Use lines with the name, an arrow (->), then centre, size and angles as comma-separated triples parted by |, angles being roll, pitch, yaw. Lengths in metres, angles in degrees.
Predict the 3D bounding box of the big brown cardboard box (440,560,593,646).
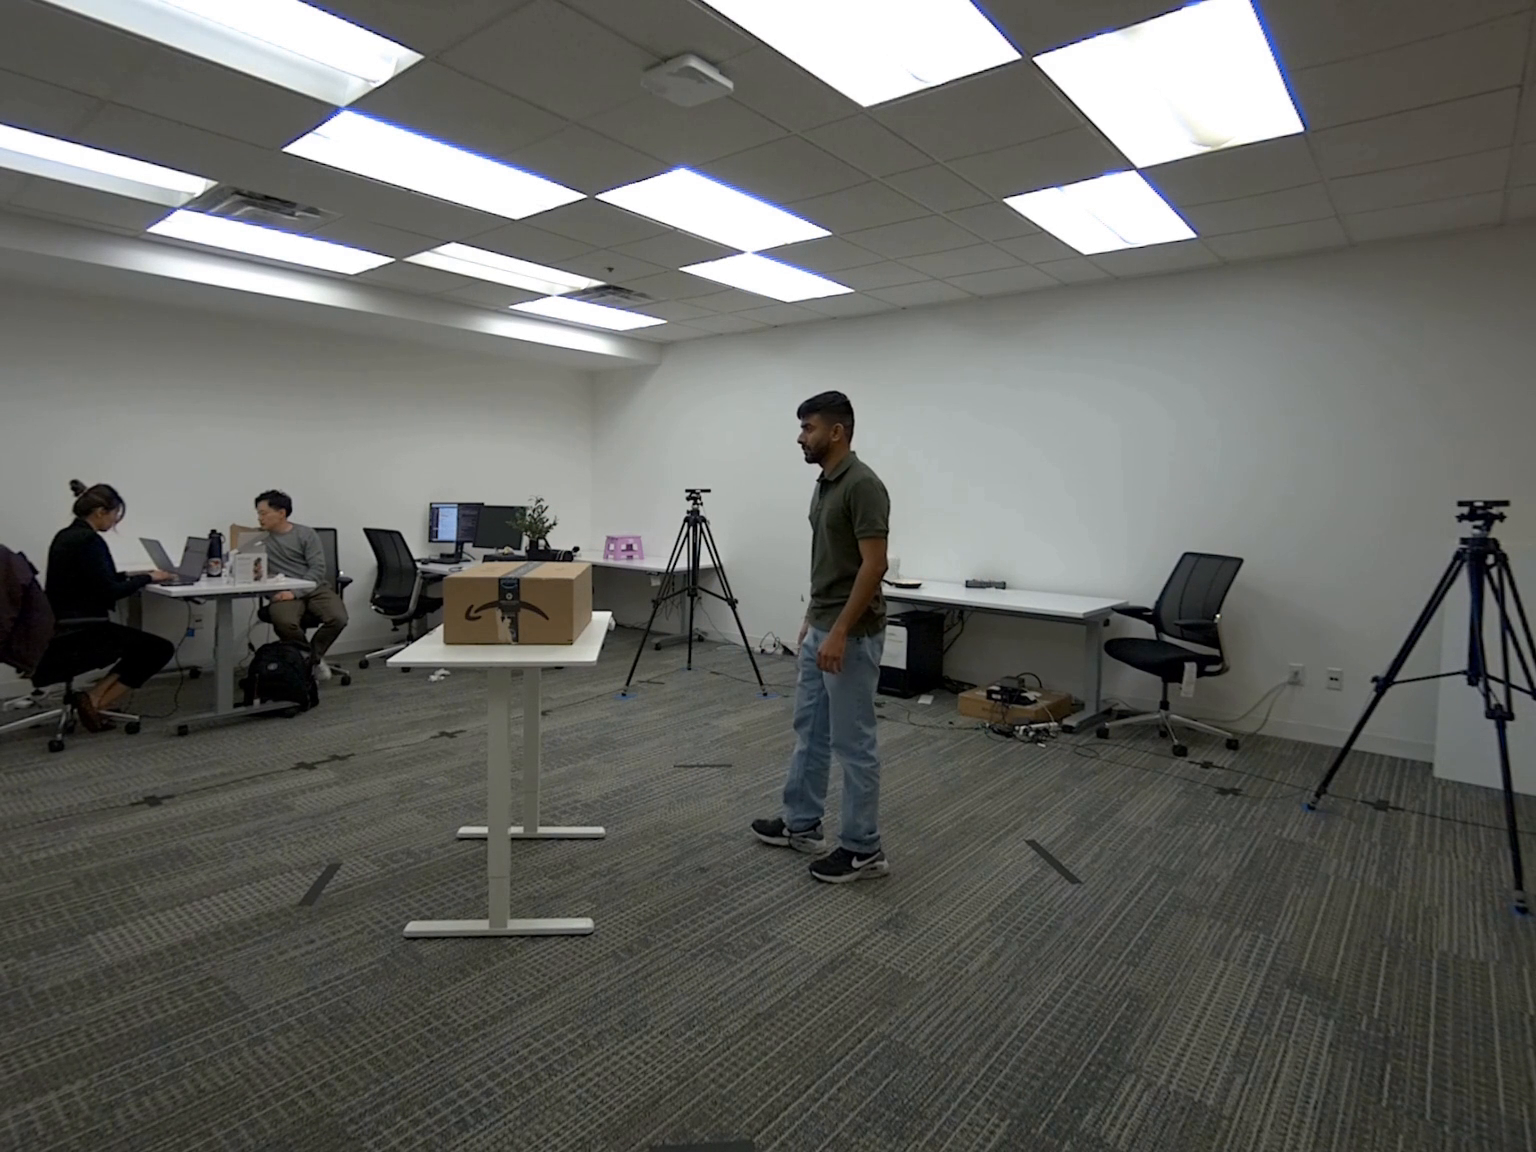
big brown cardboard box -> -0.874, 0.083, 3.007 | 0.416, 0.232, 0.593 | 0, 5, -5
